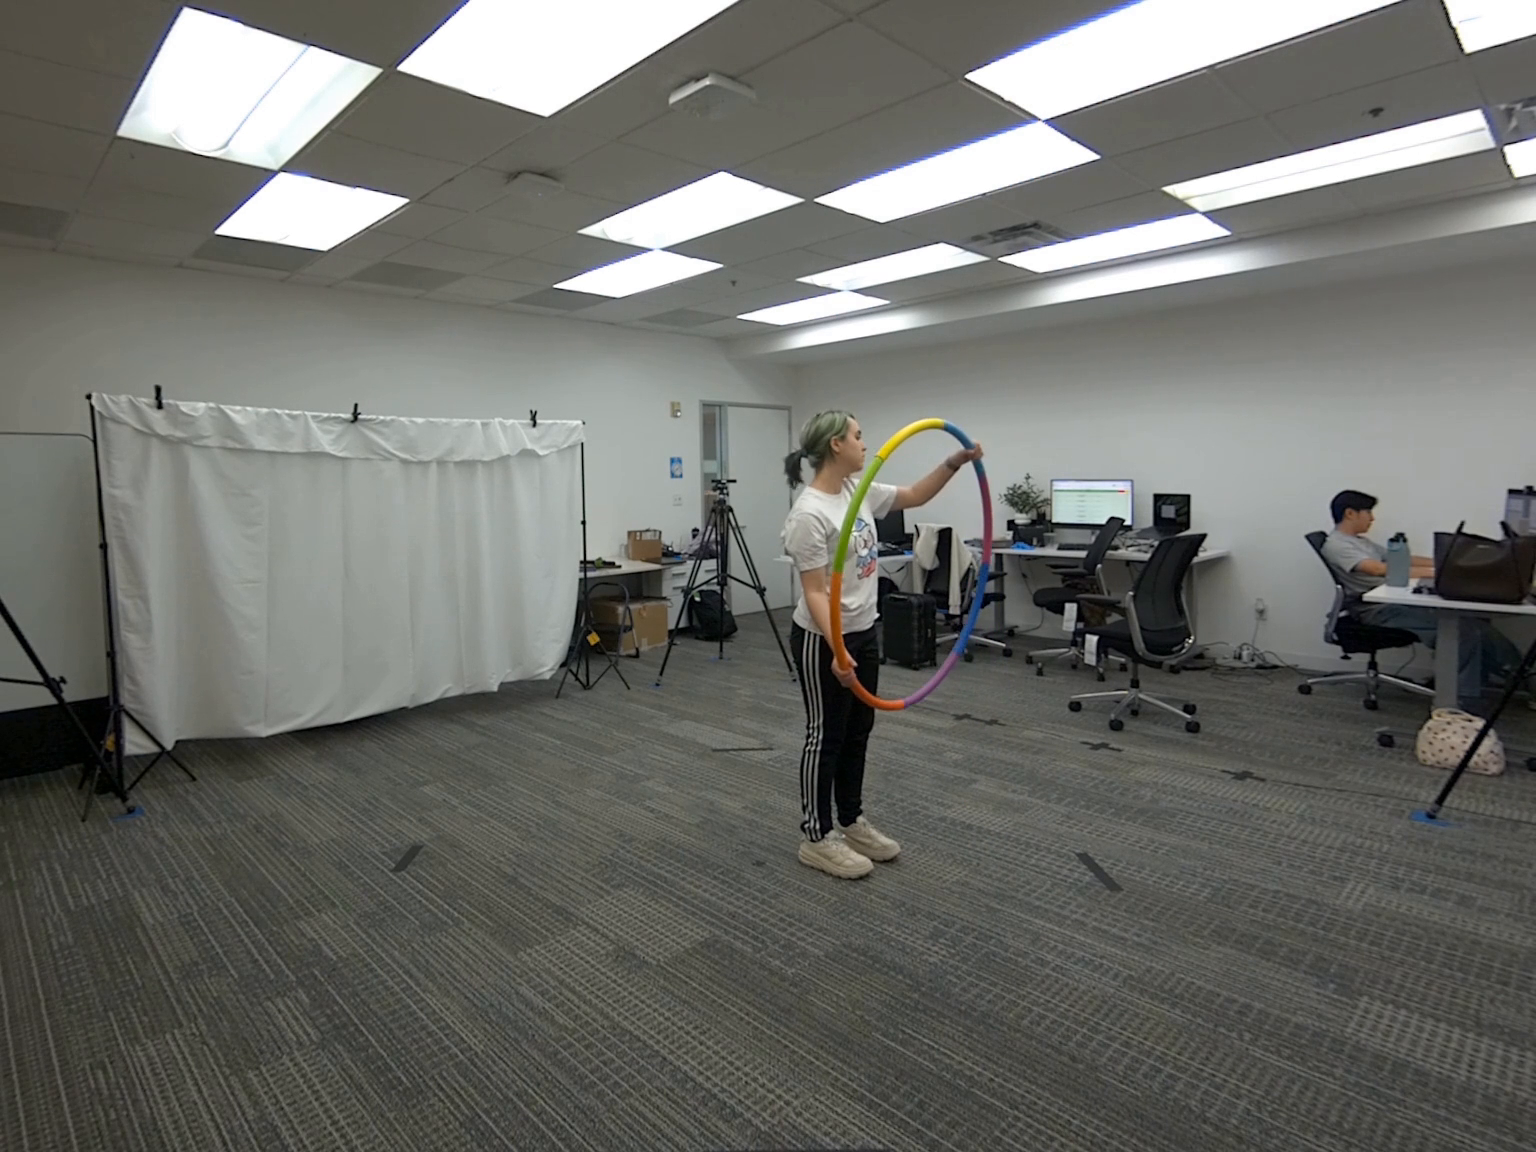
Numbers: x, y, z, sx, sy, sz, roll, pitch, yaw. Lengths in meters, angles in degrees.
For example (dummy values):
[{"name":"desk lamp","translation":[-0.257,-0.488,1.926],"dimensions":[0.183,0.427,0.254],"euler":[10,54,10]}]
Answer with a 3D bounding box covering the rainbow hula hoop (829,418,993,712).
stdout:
[{"name":"rainbow hula hoop","translation":[0.508,-0.029,2.878],"dimensions":[0.037,0.971,0.953],"euler":[13,13,41]}]
